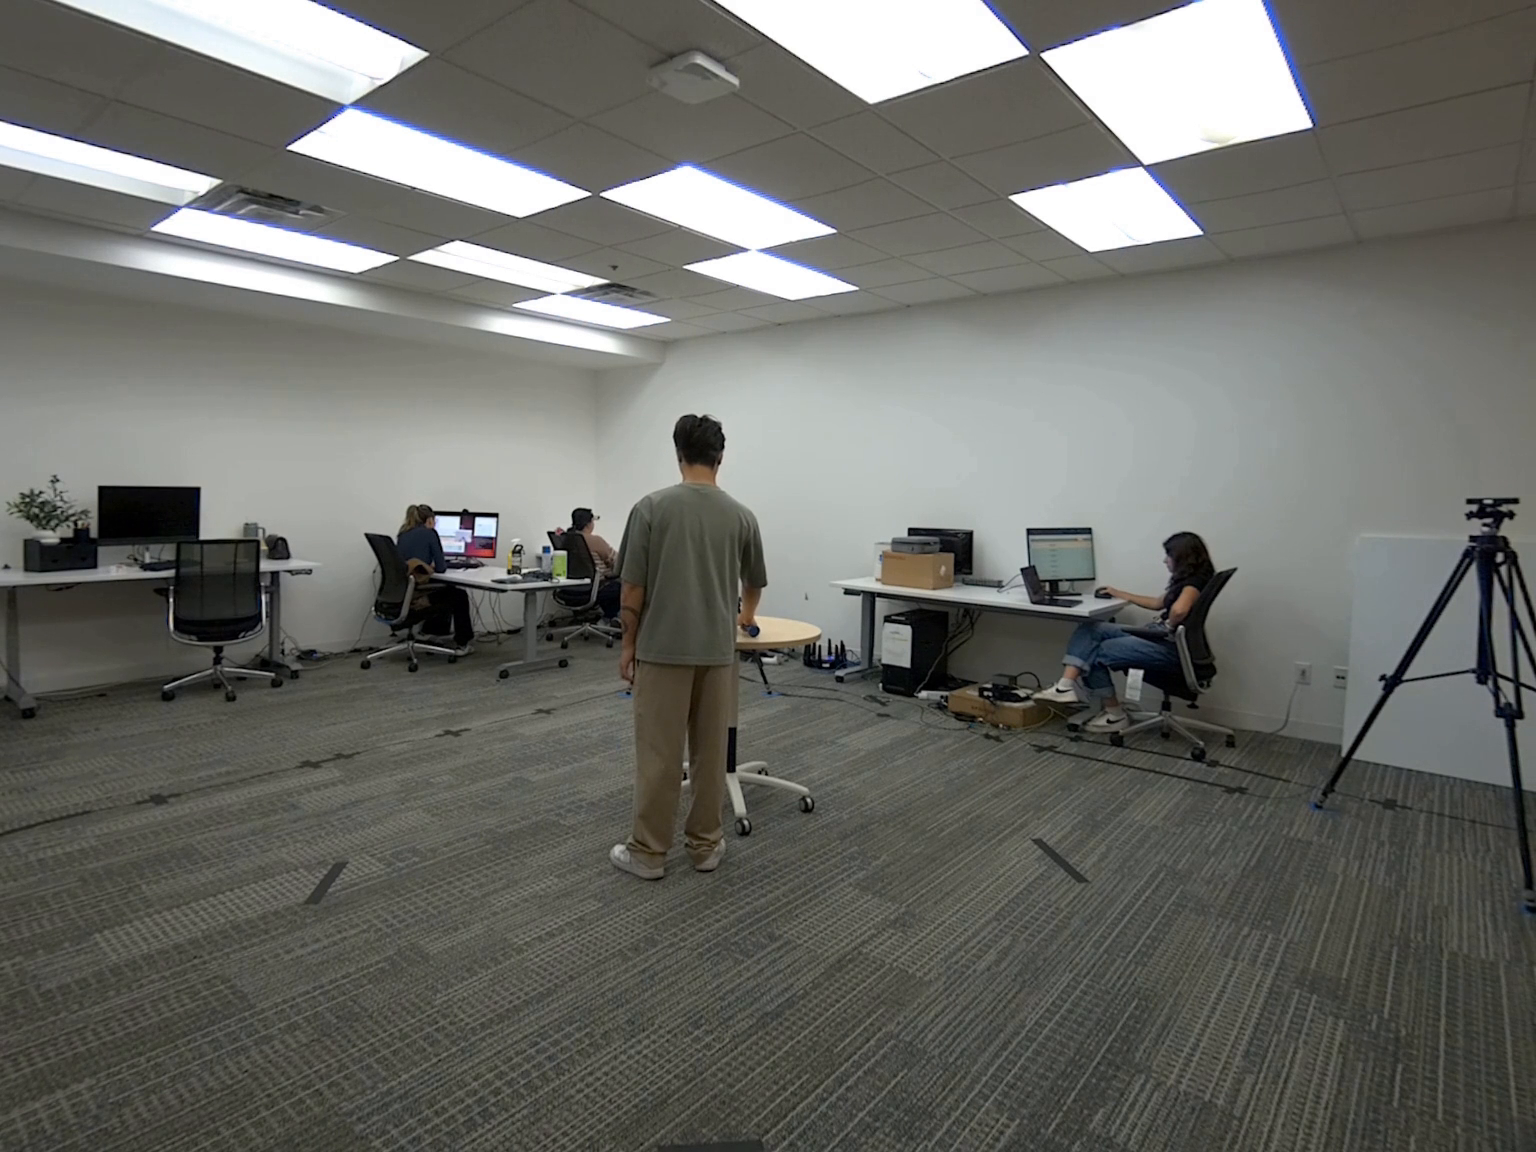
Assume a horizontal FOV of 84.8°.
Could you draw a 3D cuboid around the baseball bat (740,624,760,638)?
[{"bbox_3d":[-0.164,0.183,3.726,0.087,0.088,0.558,-1,9,-23],"label":"baseball bat"}]
